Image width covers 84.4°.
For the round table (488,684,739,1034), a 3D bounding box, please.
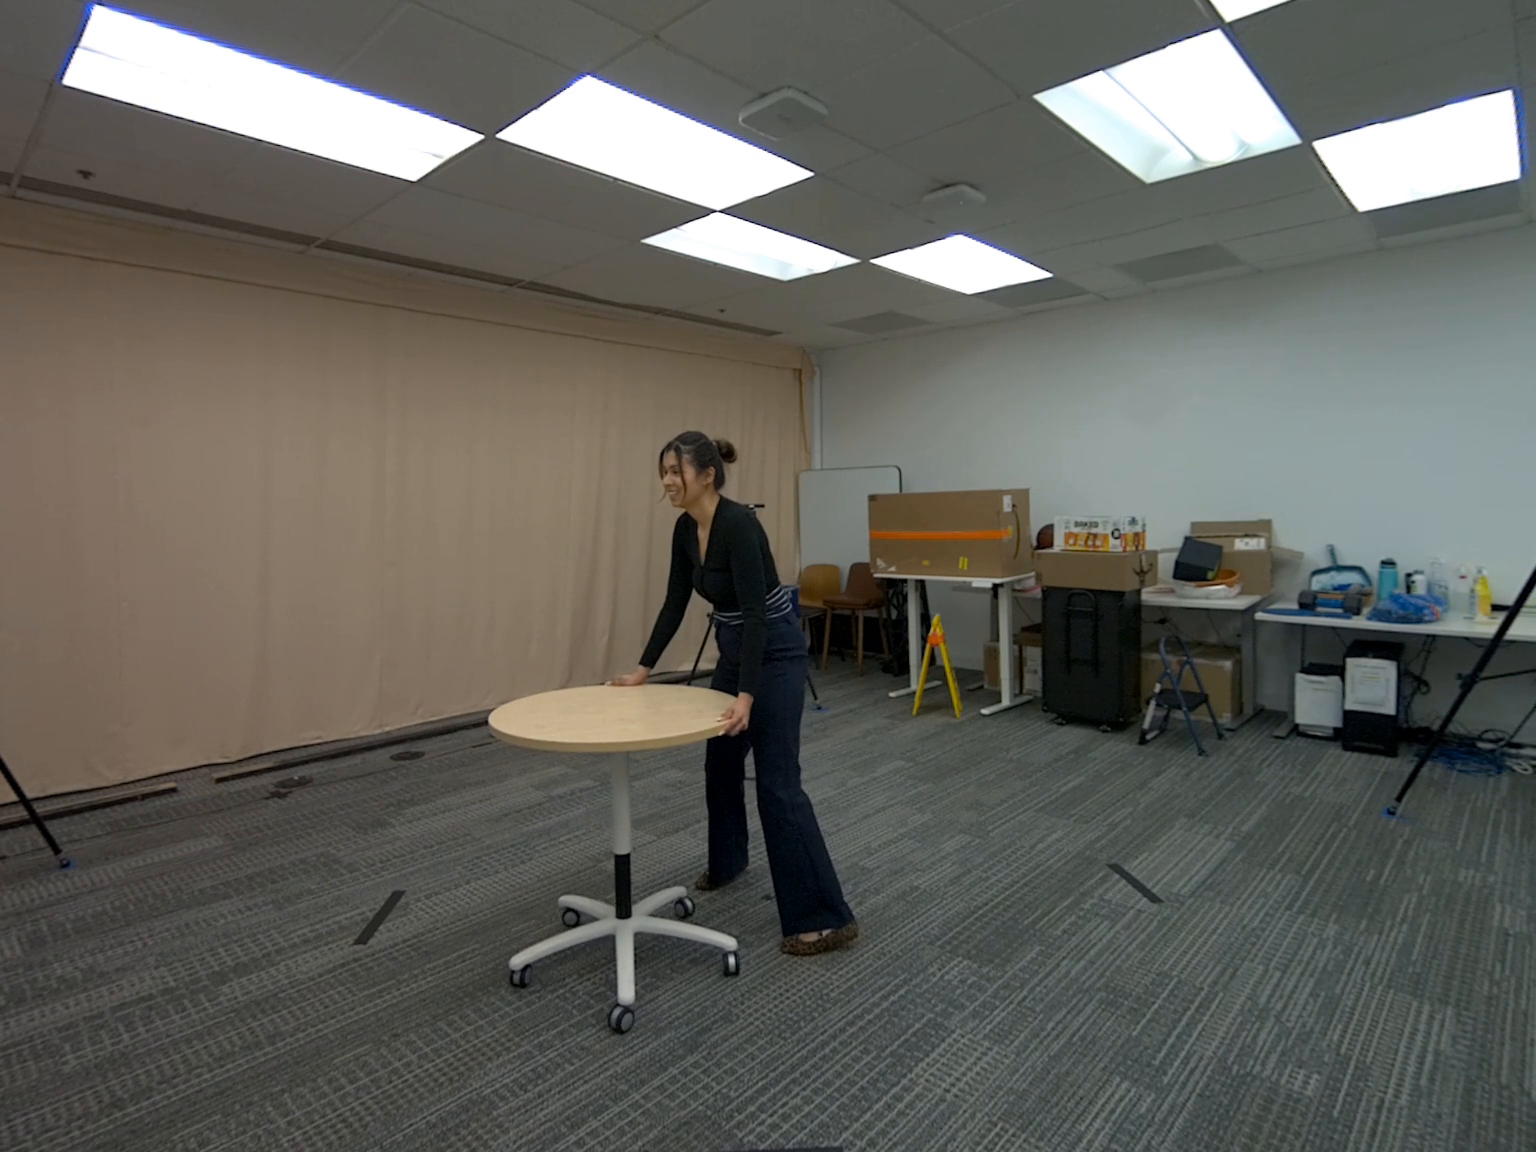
[{"bbox_3d":[-0.441,0.798,2.570,0.763,0.792,0.766,-1,3,-2],"label":"round table"}]
